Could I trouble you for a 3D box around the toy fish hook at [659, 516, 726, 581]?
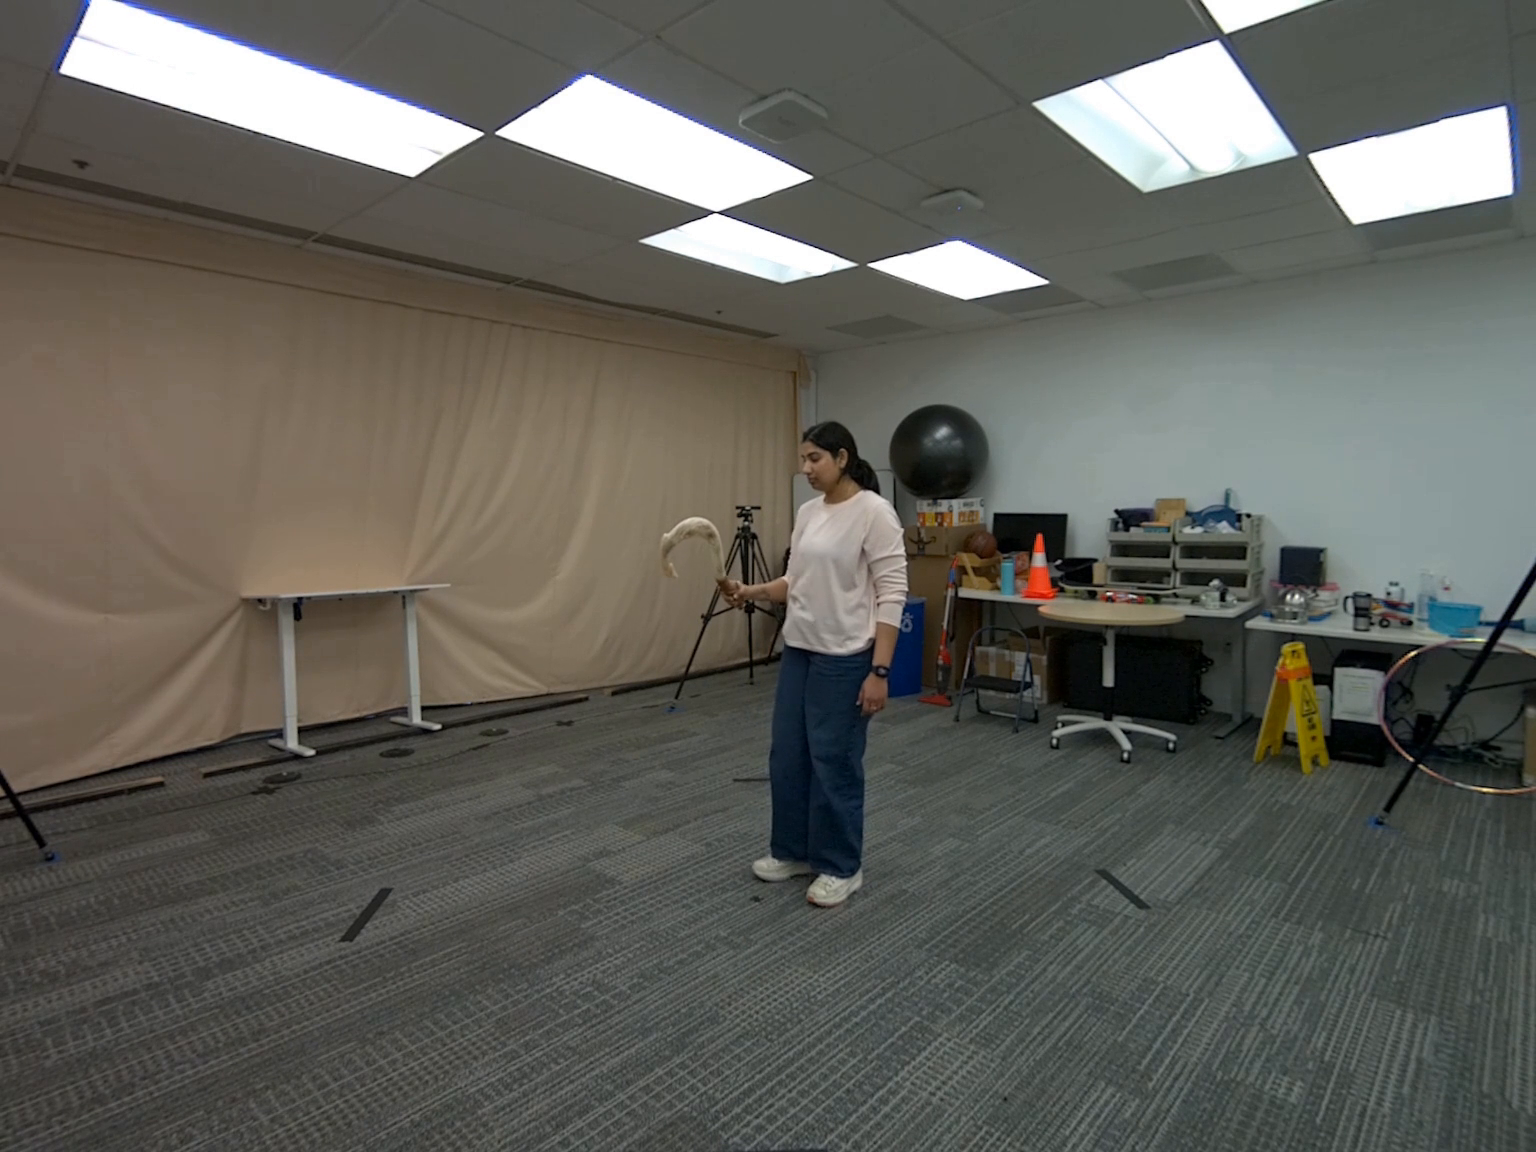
[{"bbox_3d":[-0.221,-0.003,2.870,0.224,0.491,0.050,-31,45,-3],"label":"toy fish hook"}]
